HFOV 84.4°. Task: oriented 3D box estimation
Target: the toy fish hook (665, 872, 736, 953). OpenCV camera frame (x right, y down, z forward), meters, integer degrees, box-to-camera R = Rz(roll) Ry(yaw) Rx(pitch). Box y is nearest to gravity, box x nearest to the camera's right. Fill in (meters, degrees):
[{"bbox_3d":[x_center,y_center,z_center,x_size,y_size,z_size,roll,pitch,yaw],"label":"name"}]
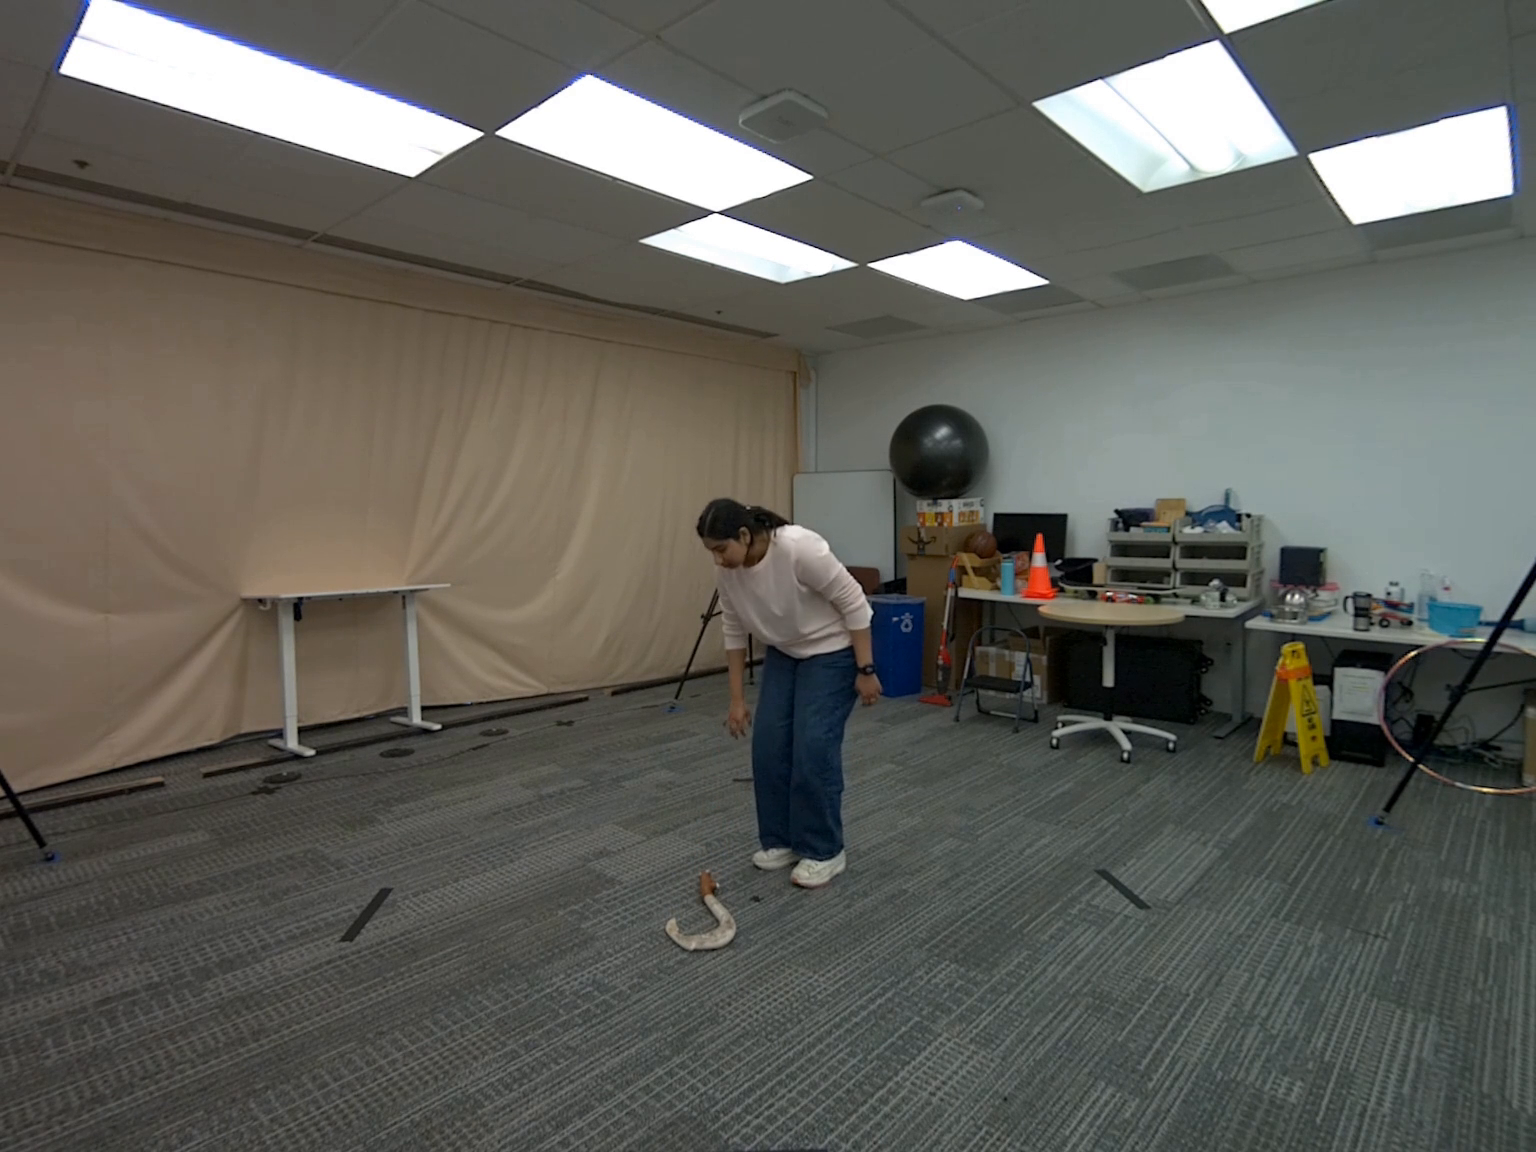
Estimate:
[{"bbox_3d":[-0.237,1.131,2.877,0.222,0.048,0.512,0,4,-10],"label":"toy fish hook"}]
